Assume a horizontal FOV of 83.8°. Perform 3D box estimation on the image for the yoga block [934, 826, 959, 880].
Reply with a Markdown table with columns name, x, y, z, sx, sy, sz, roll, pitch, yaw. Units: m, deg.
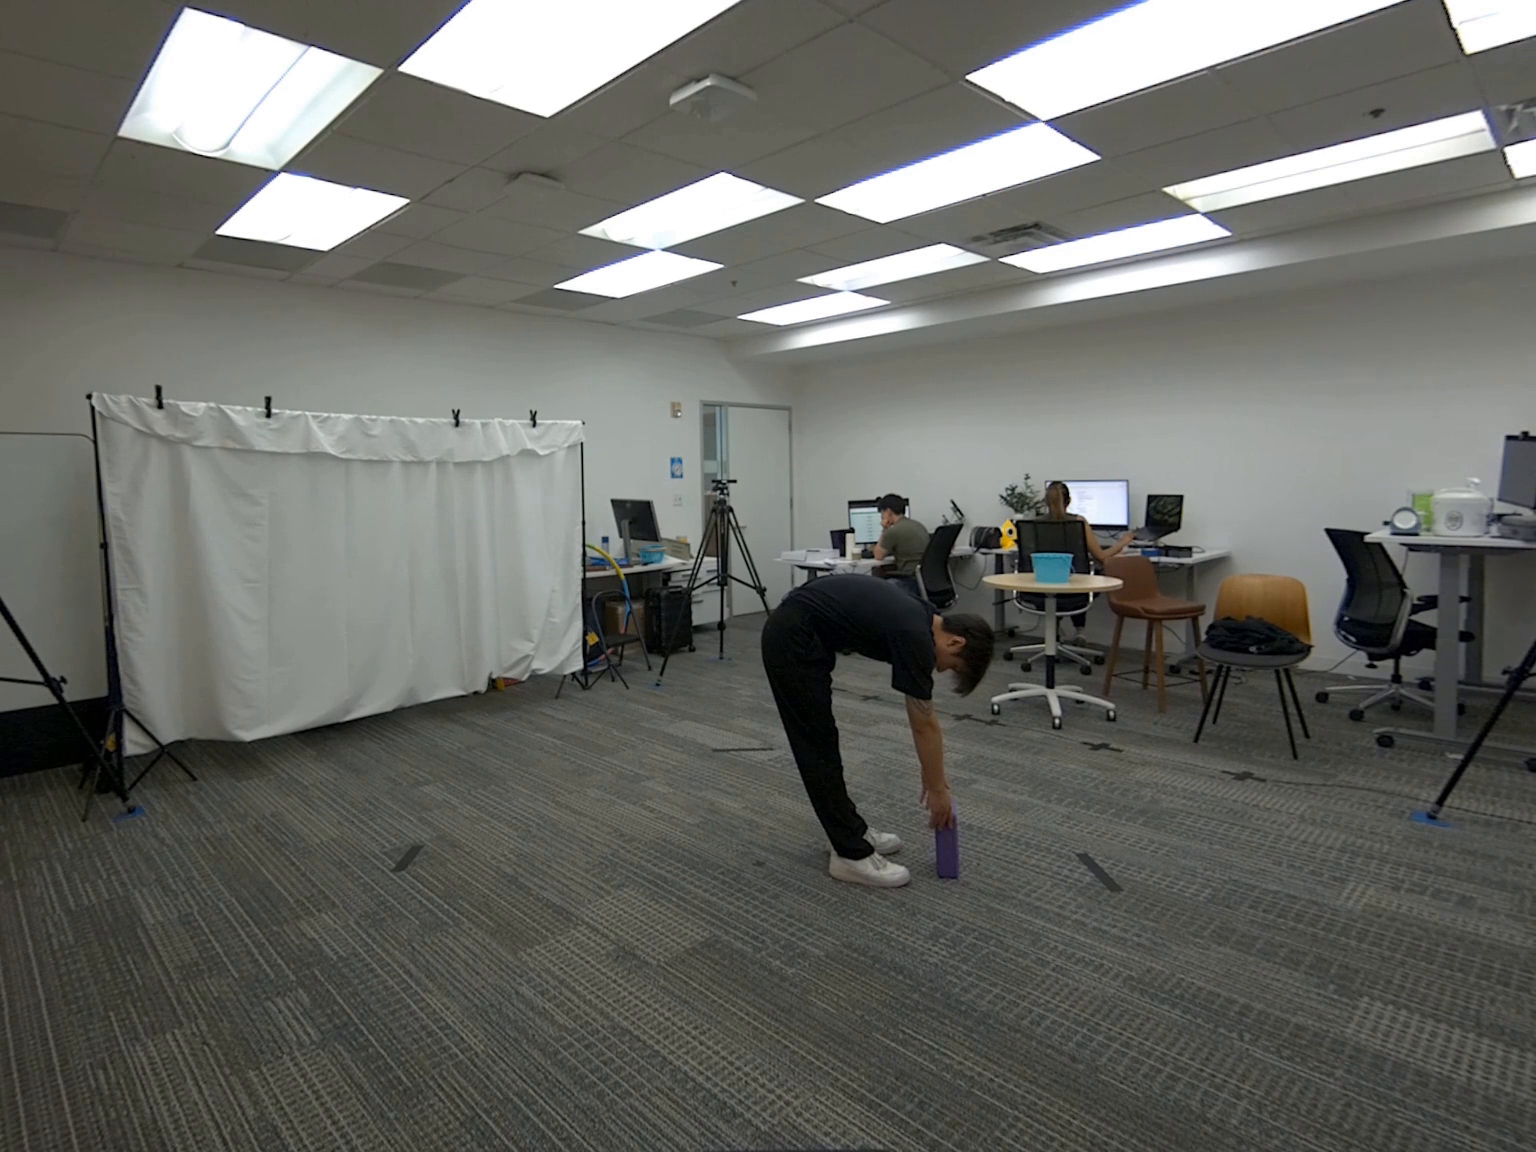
| name | x | y | z | sx | sy | sz | roll | pitch | yaw |
| --- | --- | --- | --- | --- | --- | --- | --- | --- | --- |
| yoga block | 0.630 | 0.925 | 3.025 | 0.077 | 0.228 | 0.148 | 0 | 5 | 9 |
